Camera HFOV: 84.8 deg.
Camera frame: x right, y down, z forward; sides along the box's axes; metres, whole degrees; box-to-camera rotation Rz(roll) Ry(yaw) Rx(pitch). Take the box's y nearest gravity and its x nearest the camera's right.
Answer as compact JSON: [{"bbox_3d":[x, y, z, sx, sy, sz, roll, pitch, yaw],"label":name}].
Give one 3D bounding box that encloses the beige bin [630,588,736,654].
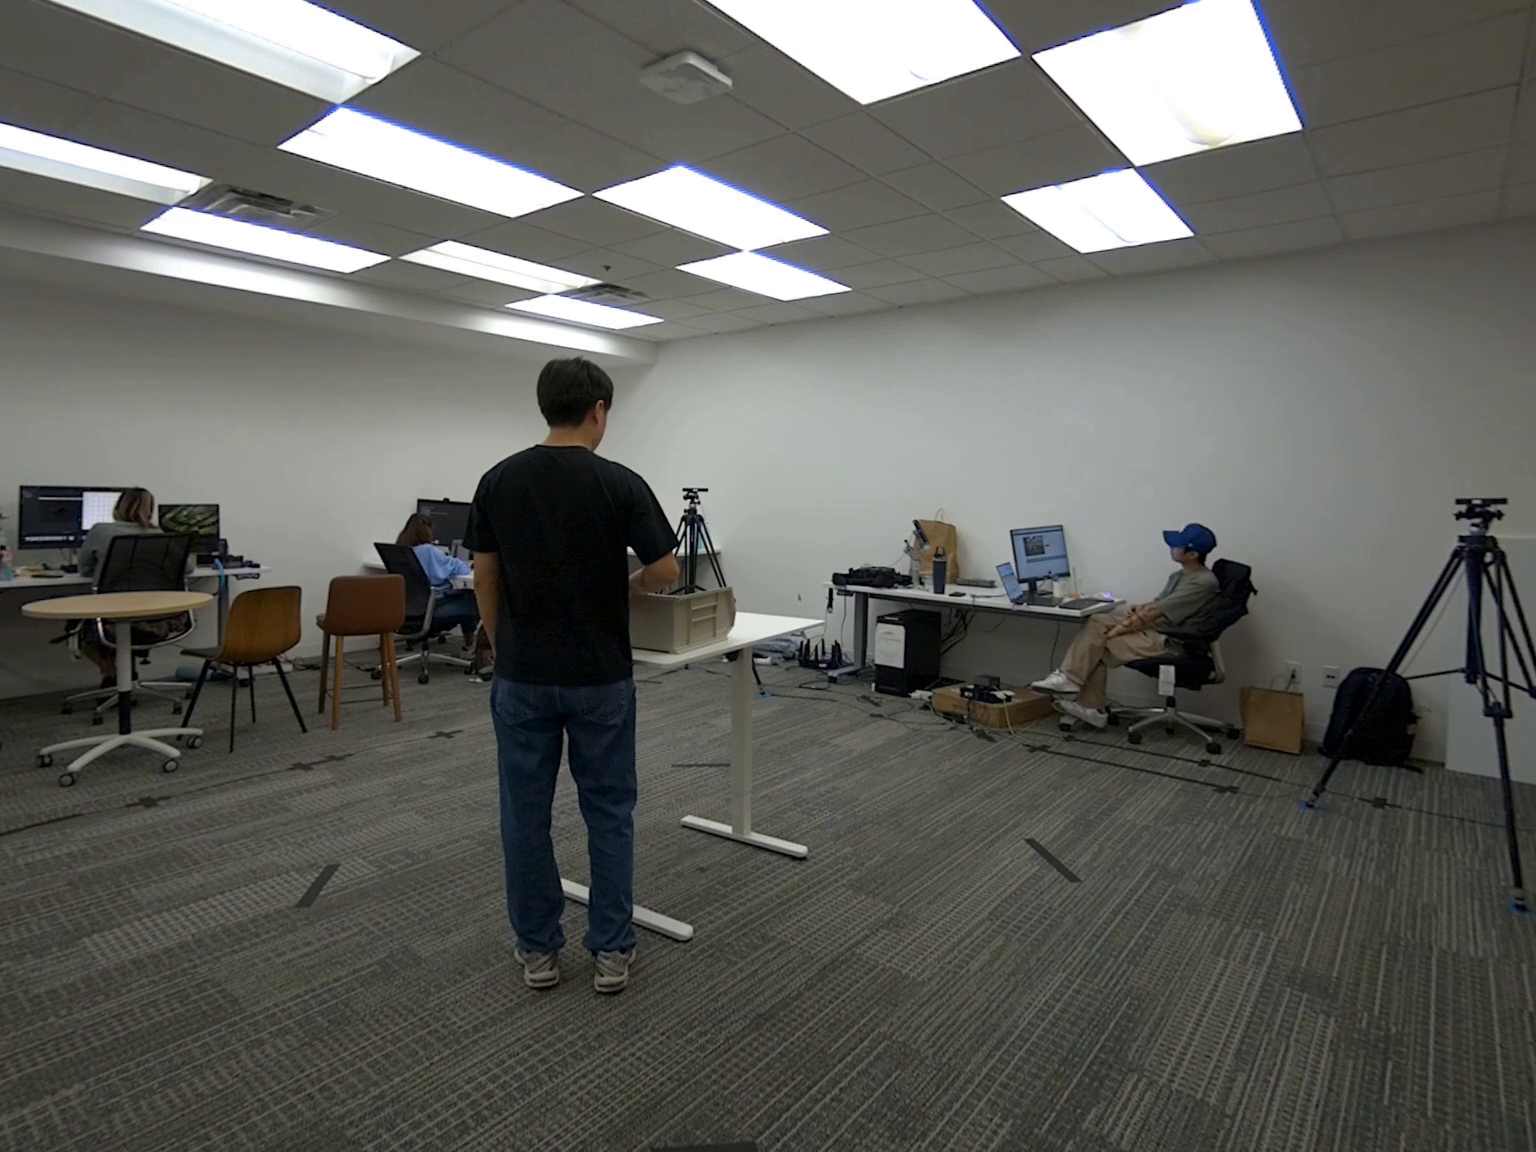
[{"bbox_3d":[-0.386,0.126,2.832,0.434,0.188,0.369,4,7,28],"label":"beige bin"}]
